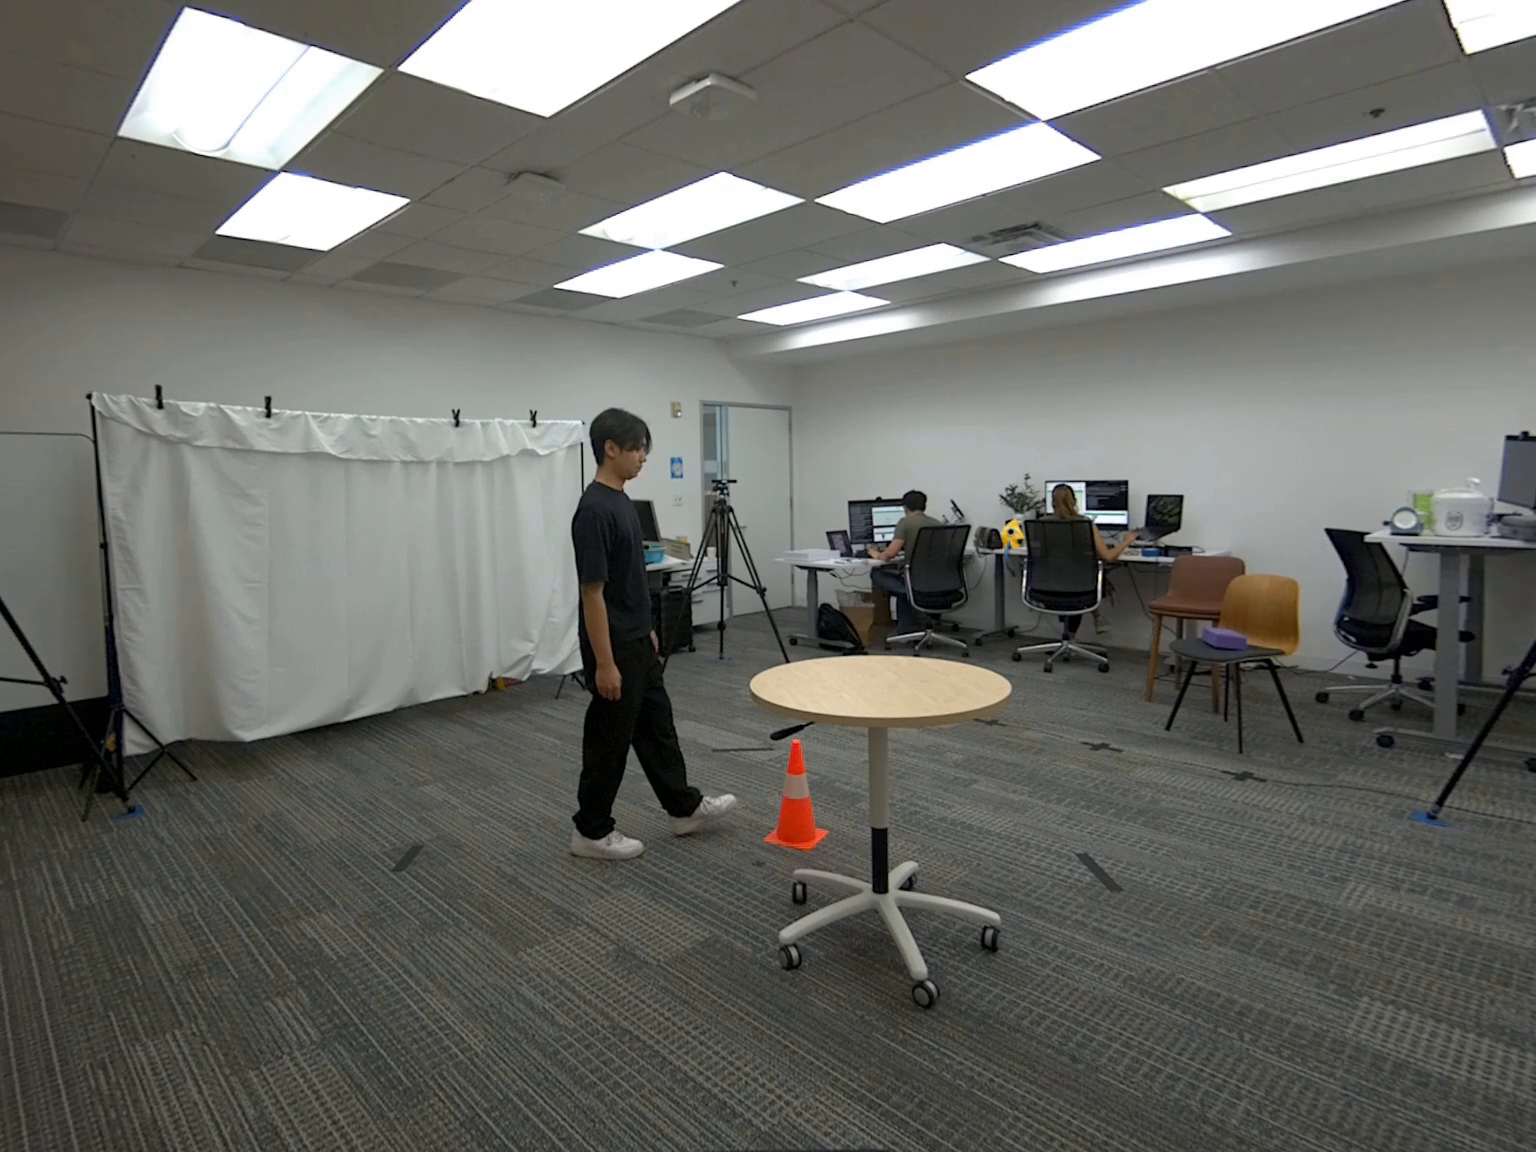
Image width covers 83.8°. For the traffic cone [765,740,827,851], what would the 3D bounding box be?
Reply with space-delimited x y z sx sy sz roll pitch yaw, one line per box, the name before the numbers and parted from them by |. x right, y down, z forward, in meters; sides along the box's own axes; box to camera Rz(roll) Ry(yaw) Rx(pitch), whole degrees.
traffic cone | 0.109 0.831 3.328 0.210 0.382 0.199 3 6 25
